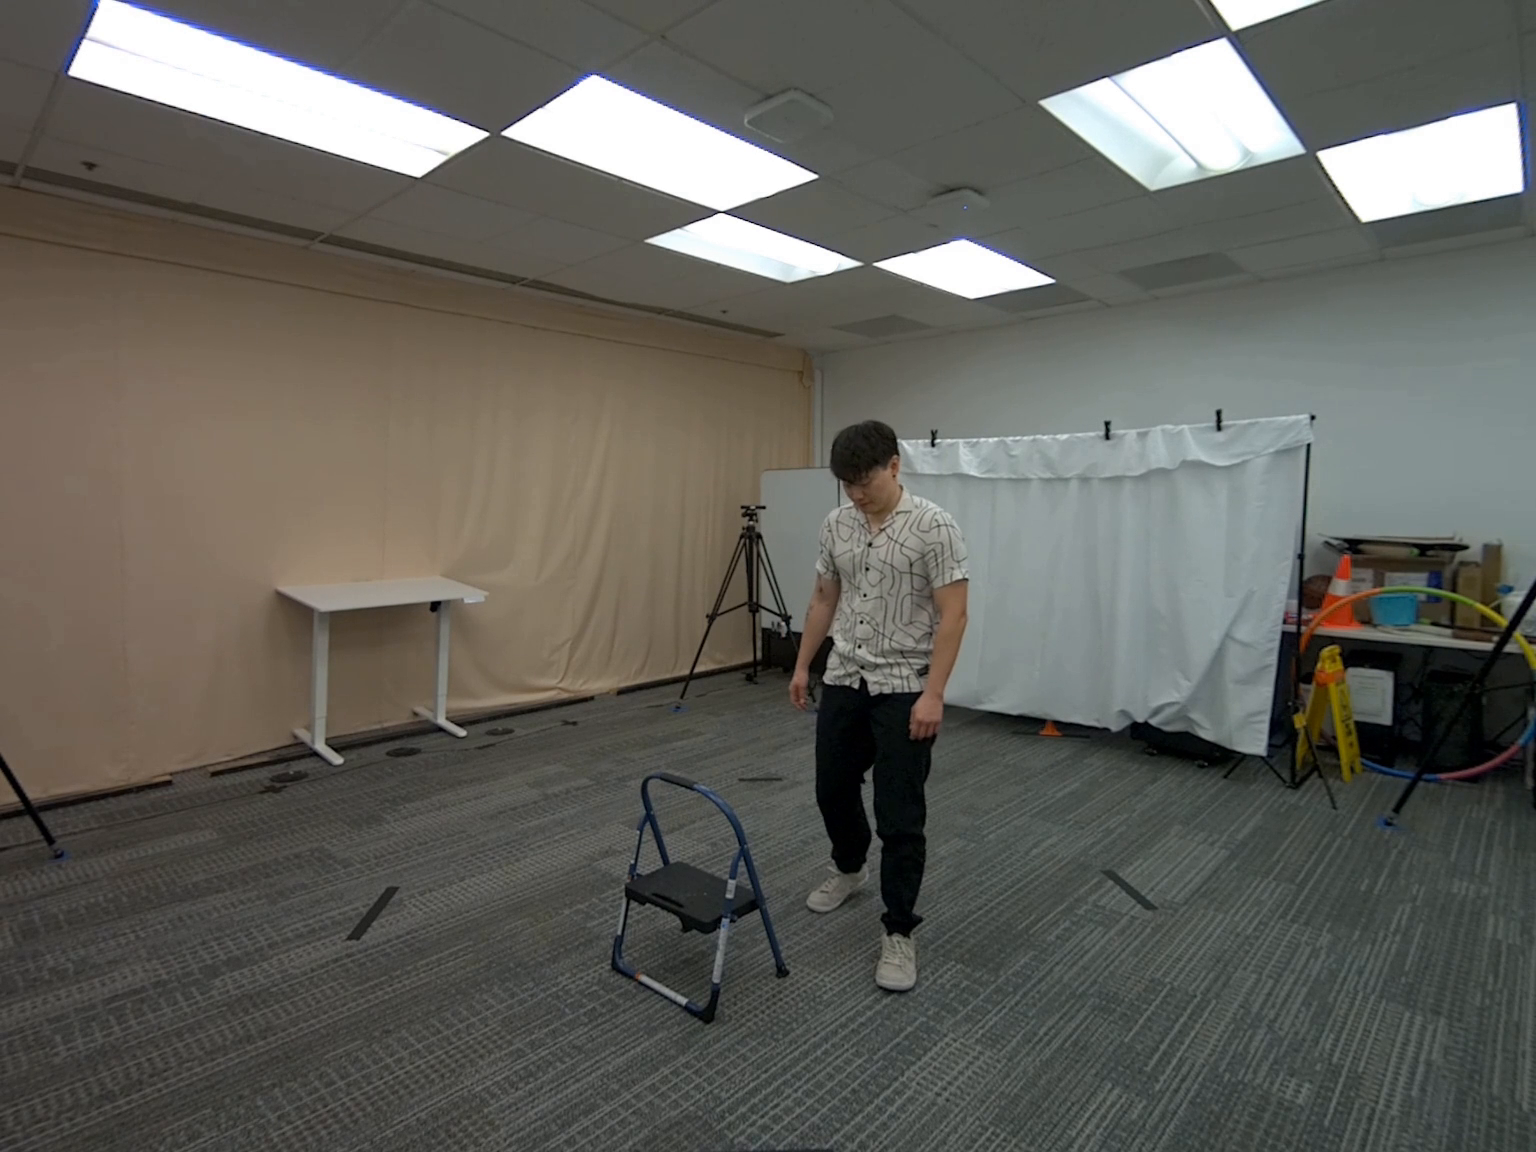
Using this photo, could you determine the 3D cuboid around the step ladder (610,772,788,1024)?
[{"bbox_3d":[-0.209,0.882,2.505,0.445,0.605,0.339,2,4,40],"label":"step ladder"}]
